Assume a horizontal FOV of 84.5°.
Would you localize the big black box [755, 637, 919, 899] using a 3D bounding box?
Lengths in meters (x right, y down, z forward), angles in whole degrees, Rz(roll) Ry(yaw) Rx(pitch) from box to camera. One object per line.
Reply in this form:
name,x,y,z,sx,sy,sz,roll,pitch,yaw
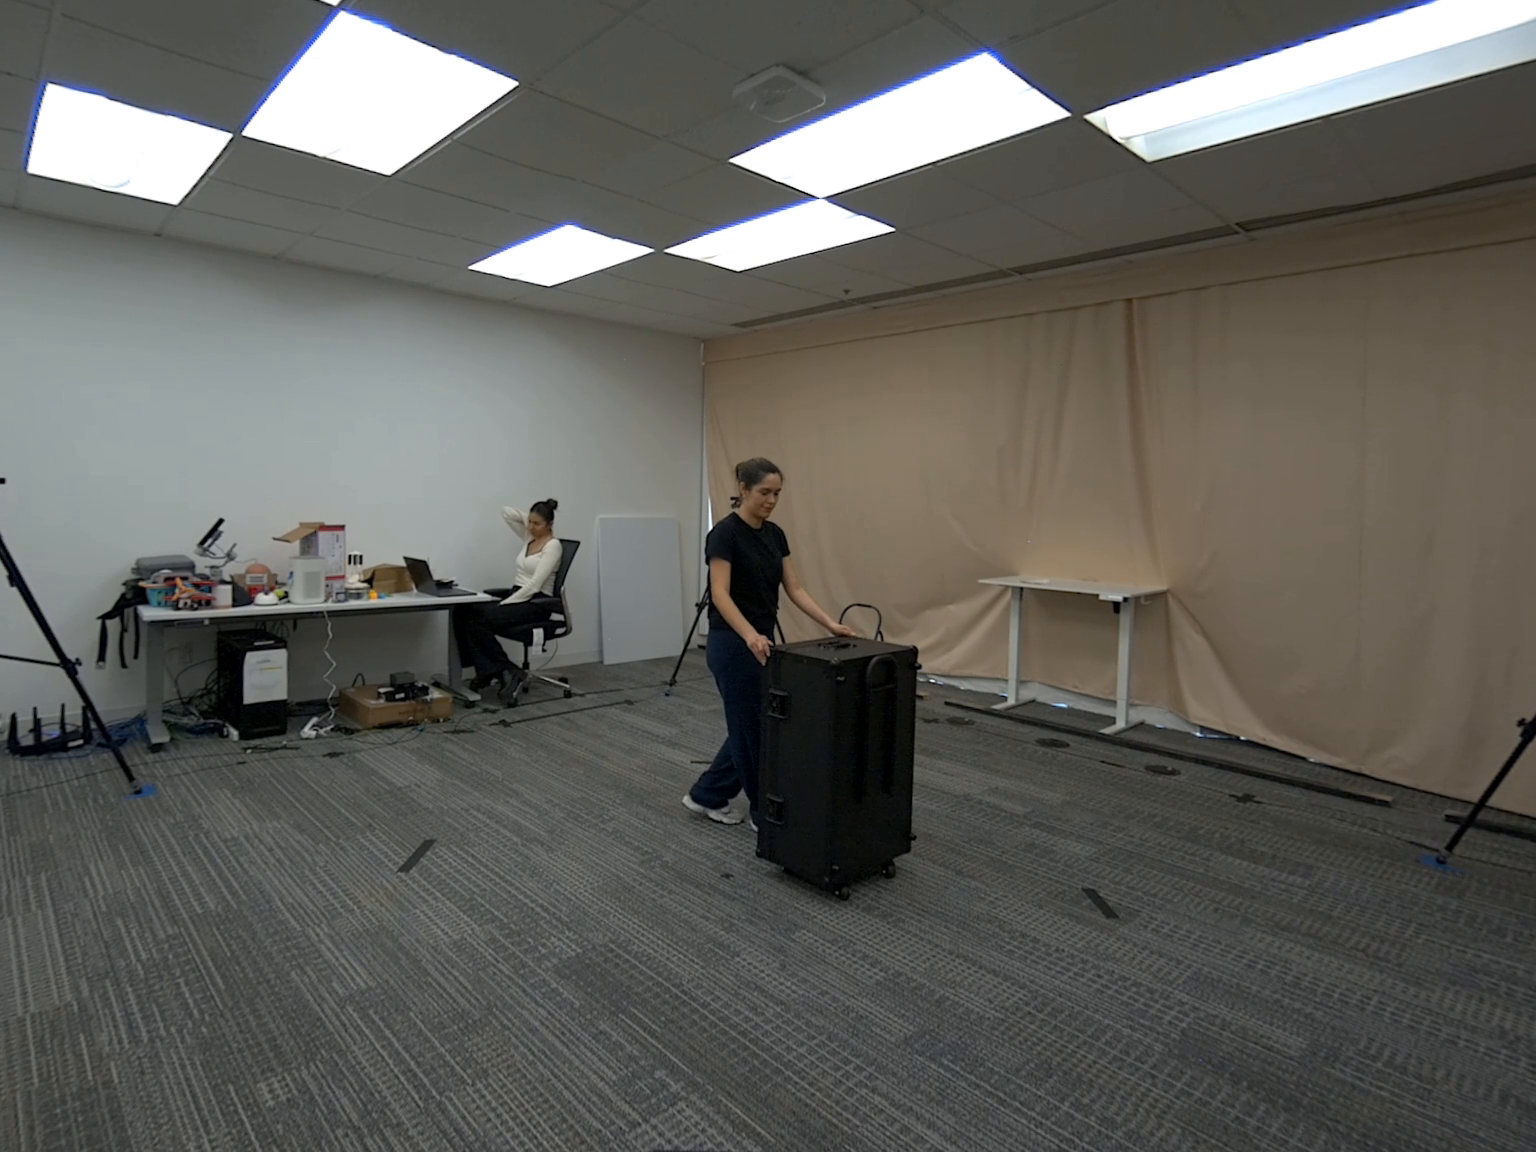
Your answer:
big black box,0.270,0.688,3.118,0.509,0.859,0.406,-2,5,-45
